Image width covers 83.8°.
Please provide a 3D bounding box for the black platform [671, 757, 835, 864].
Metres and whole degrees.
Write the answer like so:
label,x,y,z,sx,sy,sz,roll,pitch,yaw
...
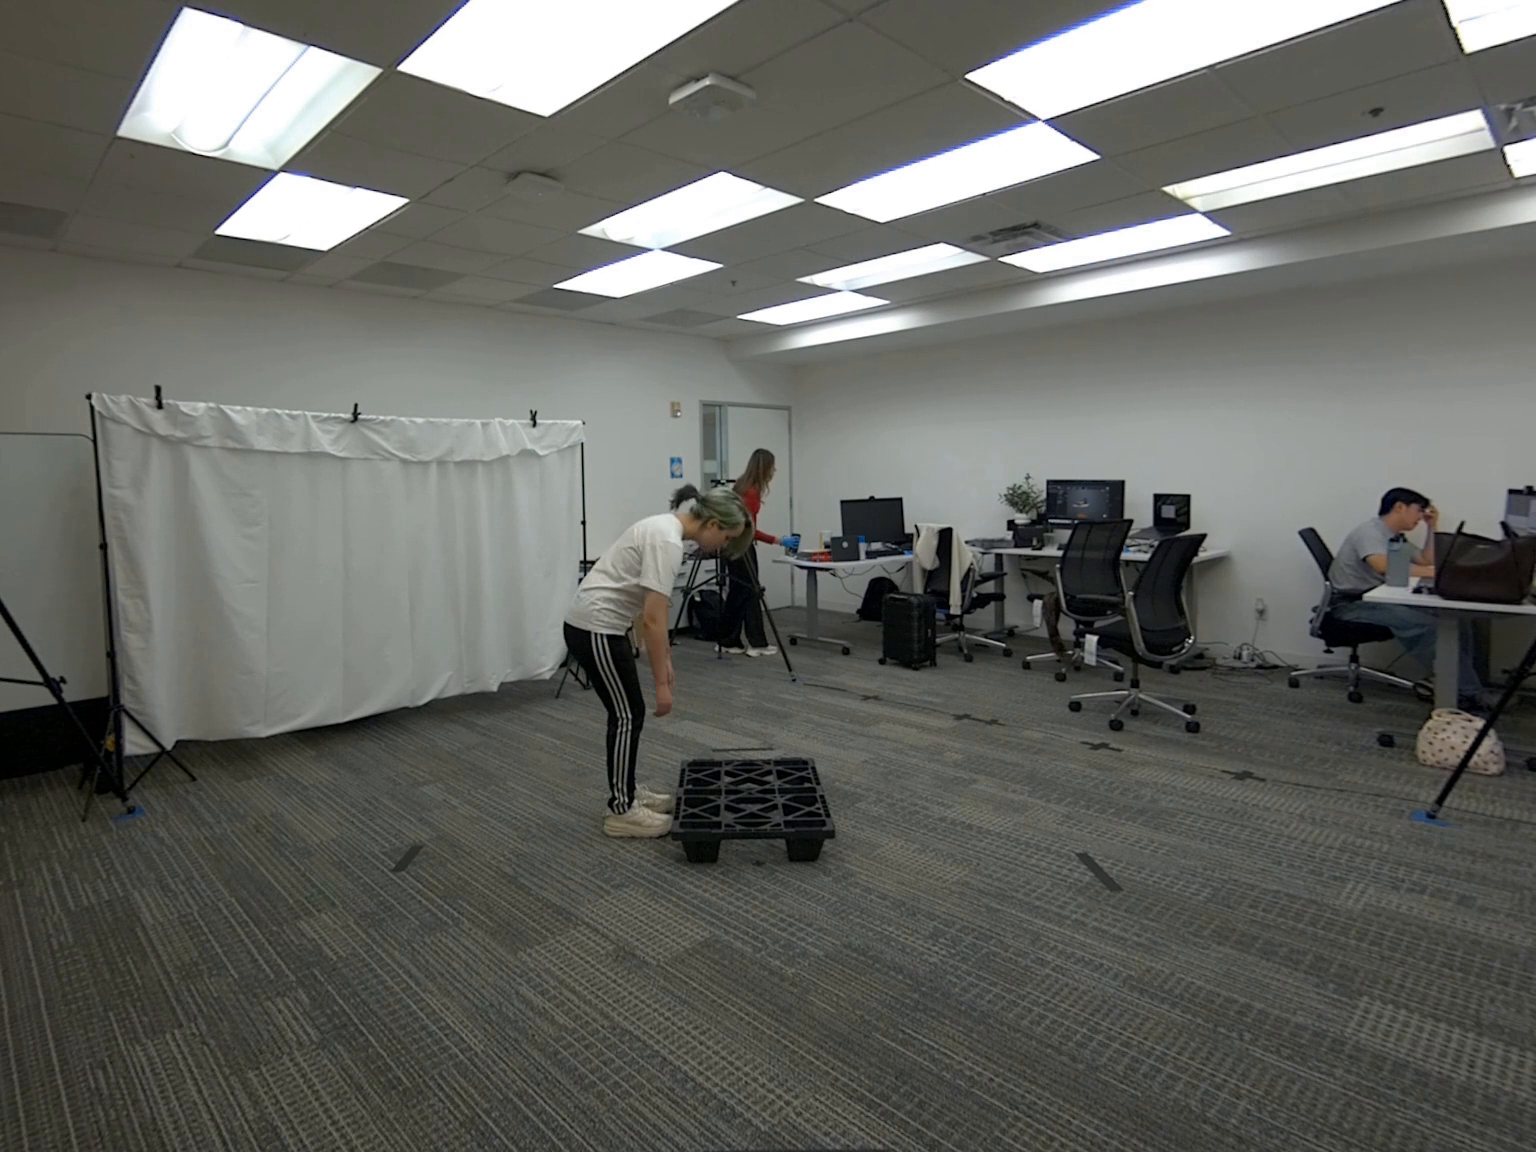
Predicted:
label,x,y,z,sx,sy,sz,roll,pitch,yaw
black platform,-0.076,0.936,3.476,0.605,0.143,0.809,-2,6,-1
